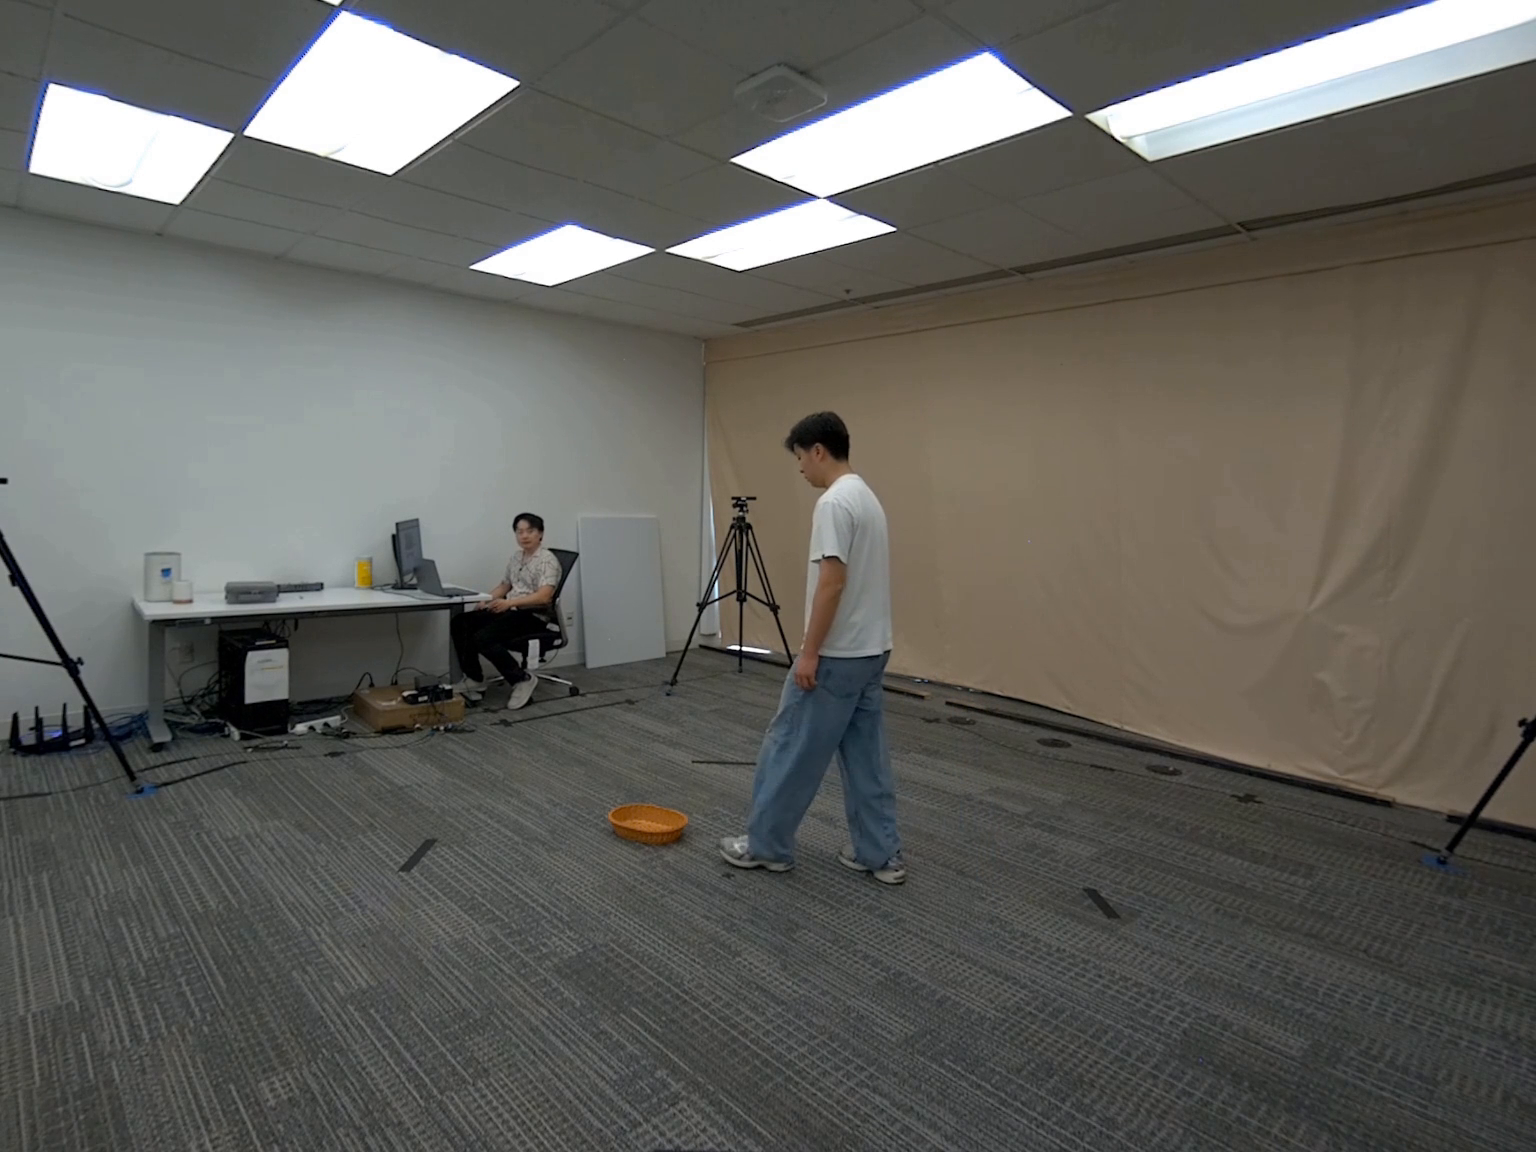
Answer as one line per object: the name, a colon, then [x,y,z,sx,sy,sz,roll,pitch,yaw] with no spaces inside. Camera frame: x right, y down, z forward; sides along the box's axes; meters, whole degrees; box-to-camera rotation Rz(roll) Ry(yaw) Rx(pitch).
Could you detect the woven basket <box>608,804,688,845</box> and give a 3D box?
woven basket: [-0.506,1.027,3.472,0.358,0.073,0.248,5,6,29]
